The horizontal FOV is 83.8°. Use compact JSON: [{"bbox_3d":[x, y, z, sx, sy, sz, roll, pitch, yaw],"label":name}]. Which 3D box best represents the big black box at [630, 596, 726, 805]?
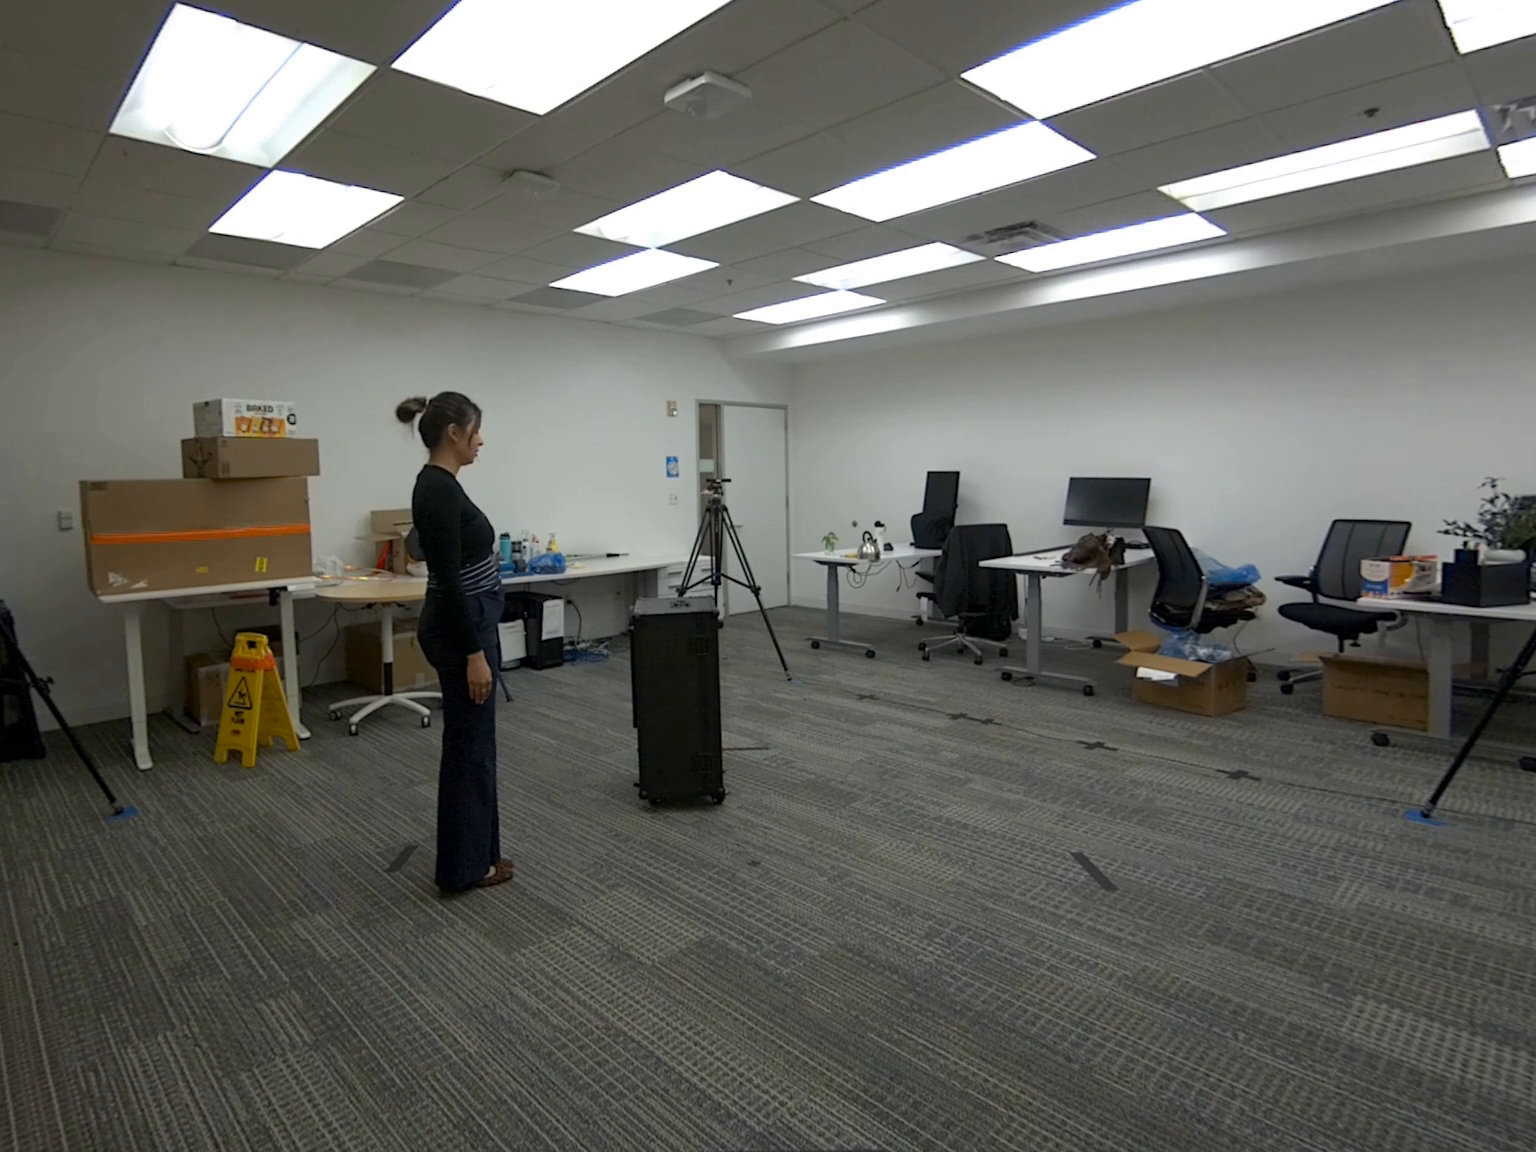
[{"bbox_3d":[-0.409,0.546,3.793,0.395,0.858,0.525,-3,4,-5],"label":"big black box"}]
